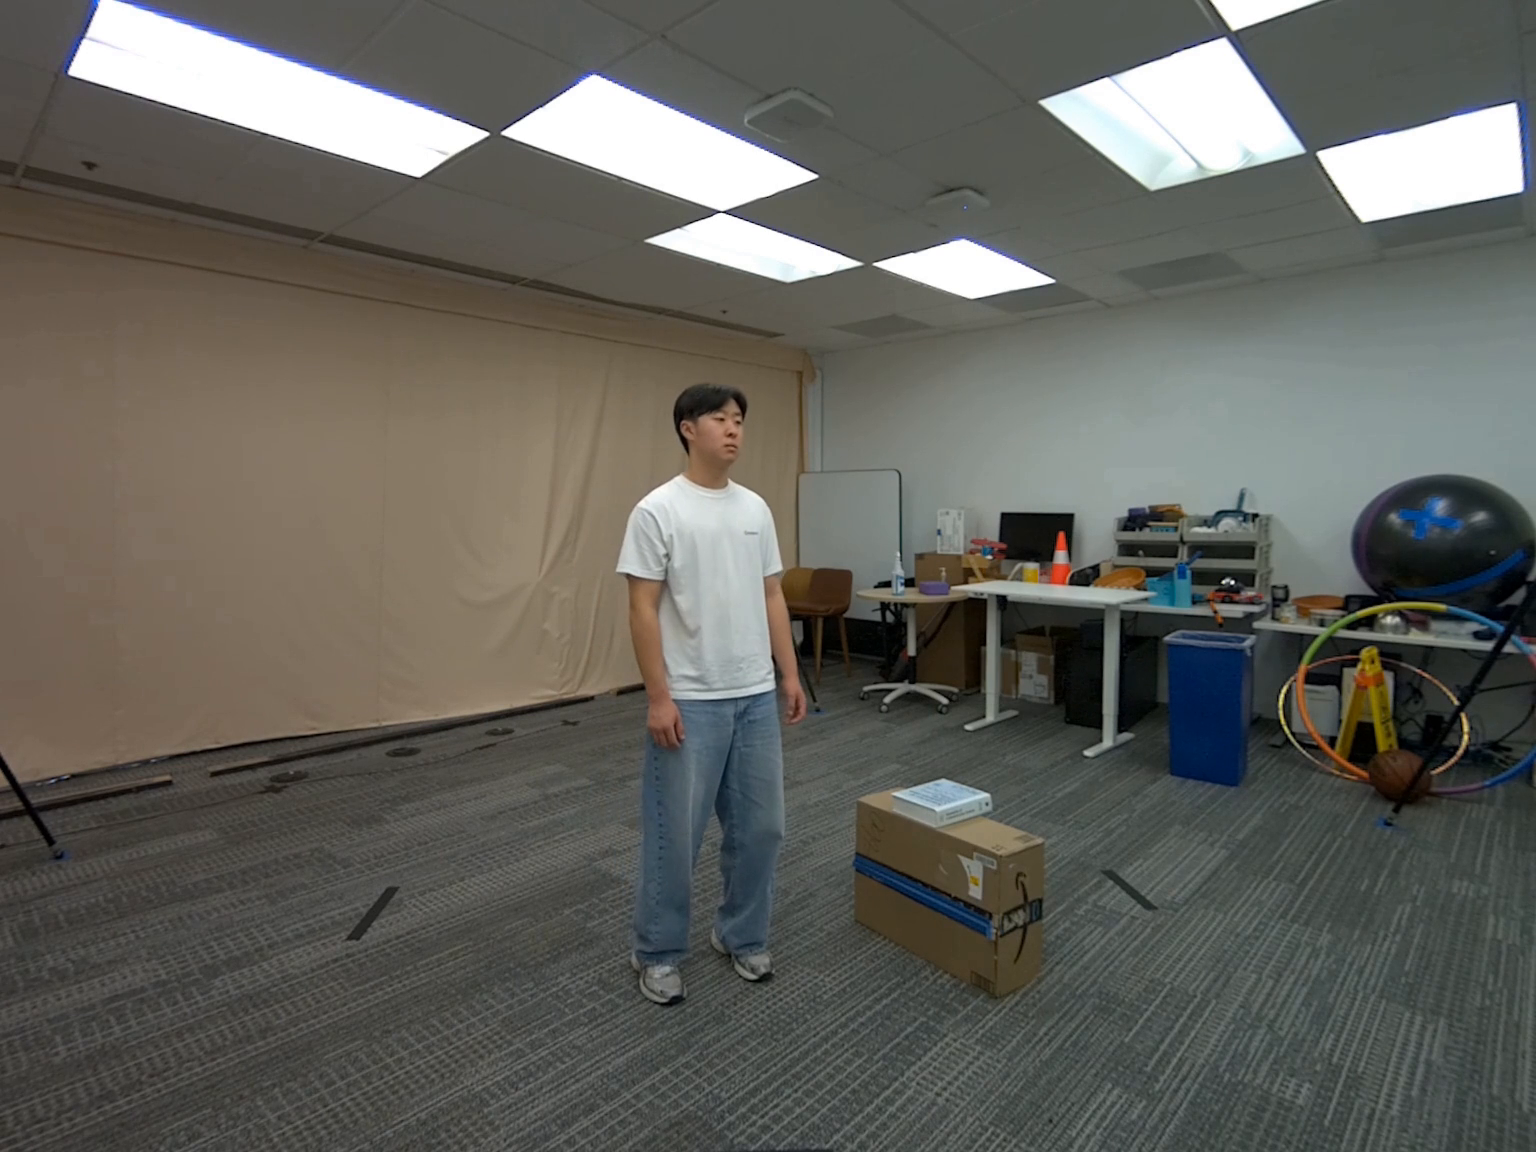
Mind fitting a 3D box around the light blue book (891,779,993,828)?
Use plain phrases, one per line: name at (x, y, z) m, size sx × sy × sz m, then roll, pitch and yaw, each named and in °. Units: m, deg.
light blue book at (0.564, 0.725, 2.679) m, size 0.253 × 0.059 × 0.197 m, roll -2°, pitch 5°, yaw -37°
